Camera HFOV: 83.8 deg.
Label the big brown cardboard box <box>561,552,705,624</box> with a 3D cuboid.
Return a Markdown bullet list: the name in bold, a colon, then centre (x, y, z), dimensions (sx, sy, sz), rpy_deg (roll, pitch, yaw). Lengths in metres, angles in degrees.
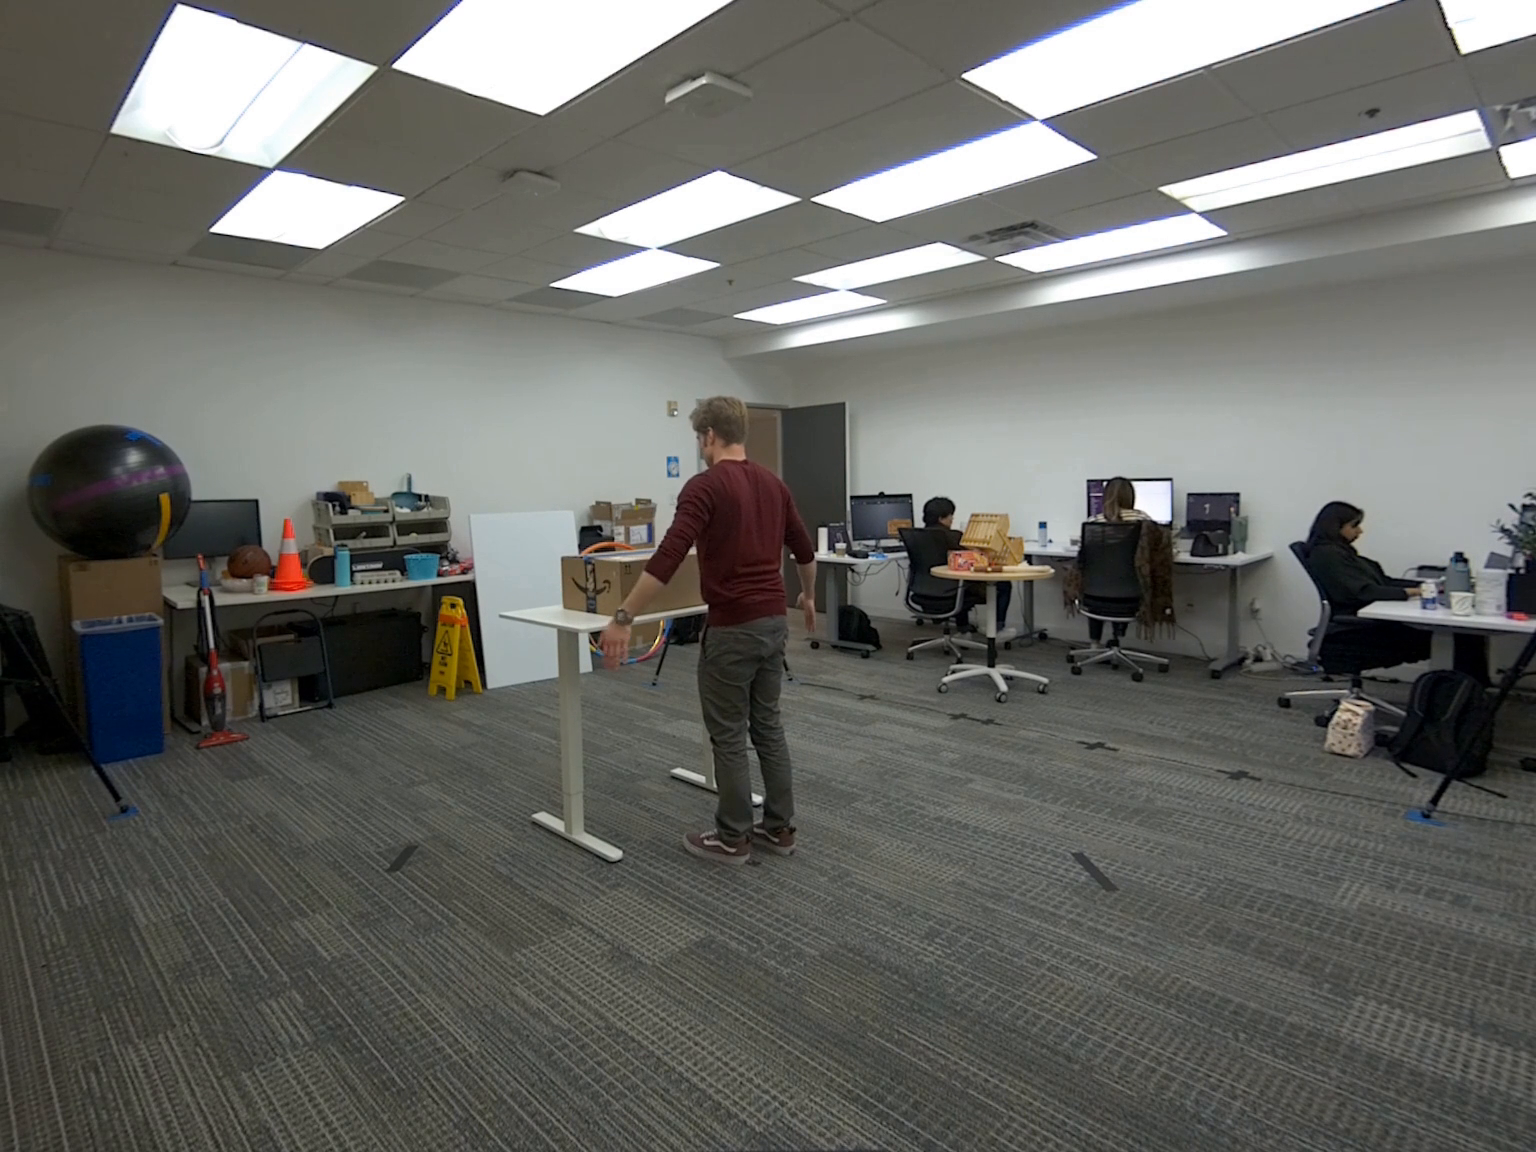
- **big brown cardboard box**: centre (-0.503, 0.009, 3.539), dimensions (0.430, 0.232, 0.574), rpy_deg (4, 8, 45)
